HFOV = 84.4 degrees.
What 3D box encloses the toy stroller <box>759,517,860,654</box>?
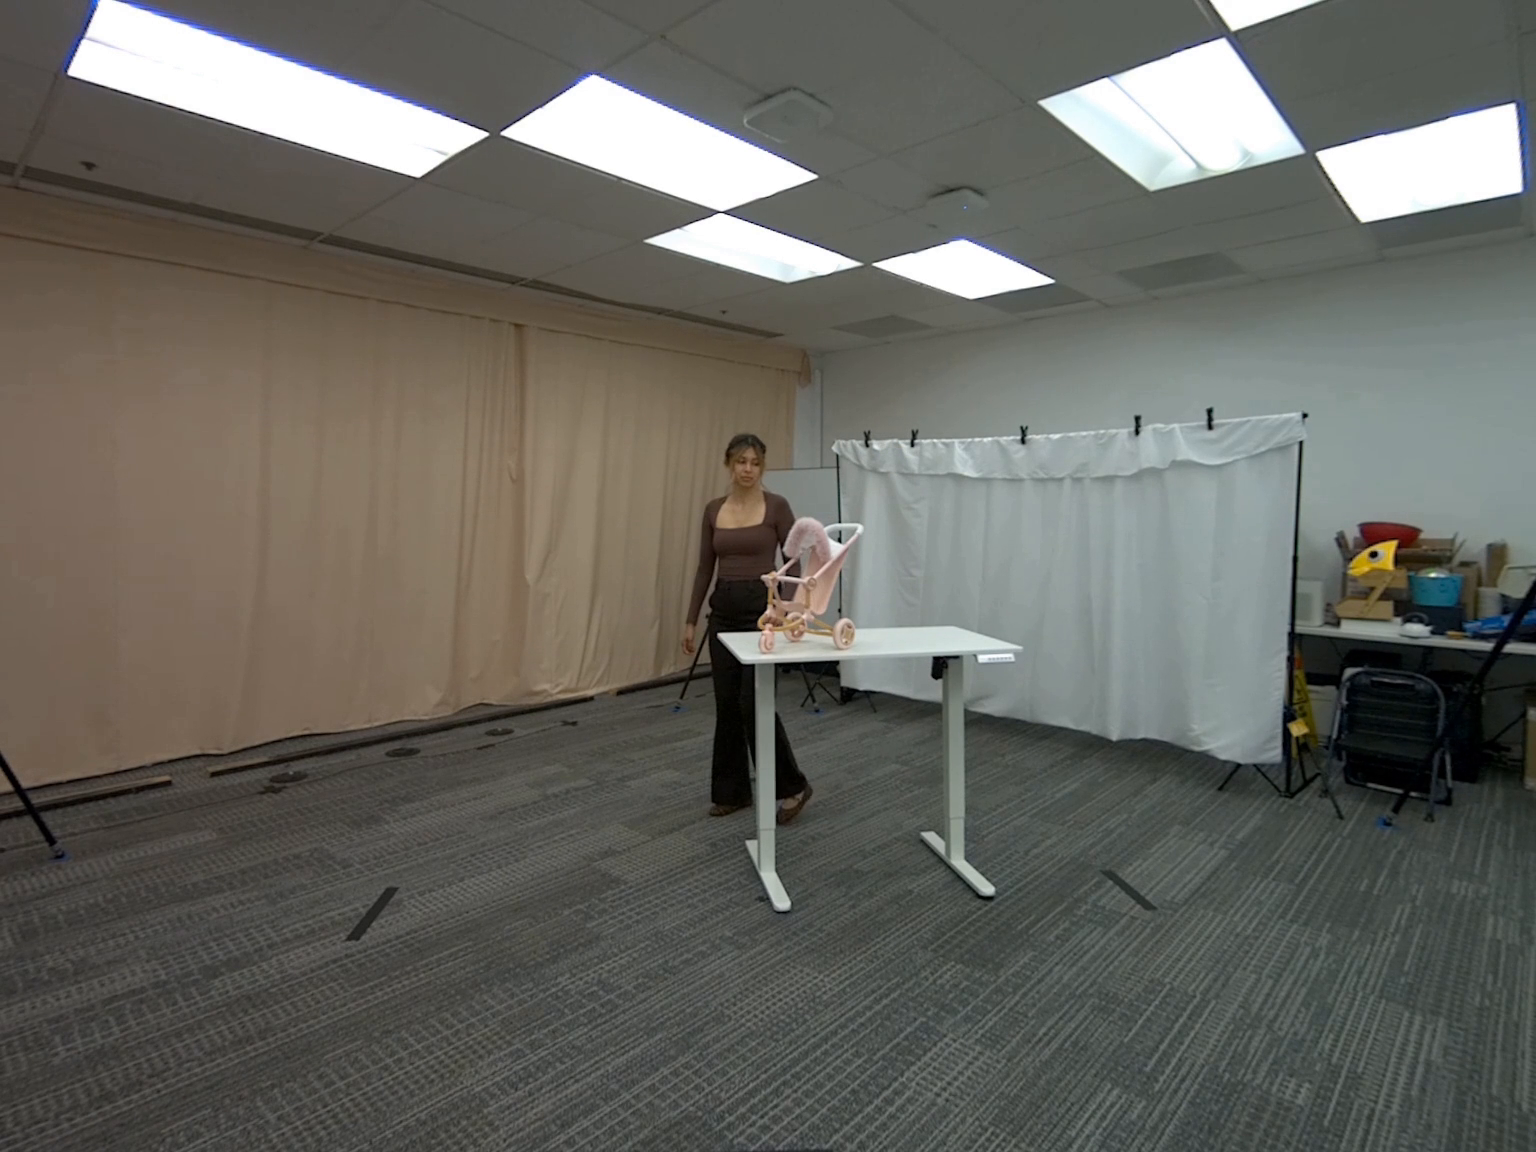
[{"bbox_3d":[0.135,0.032,3.026,0.330,0.536,0.290,16,-8,-37],"label":"toy stroller"}]
